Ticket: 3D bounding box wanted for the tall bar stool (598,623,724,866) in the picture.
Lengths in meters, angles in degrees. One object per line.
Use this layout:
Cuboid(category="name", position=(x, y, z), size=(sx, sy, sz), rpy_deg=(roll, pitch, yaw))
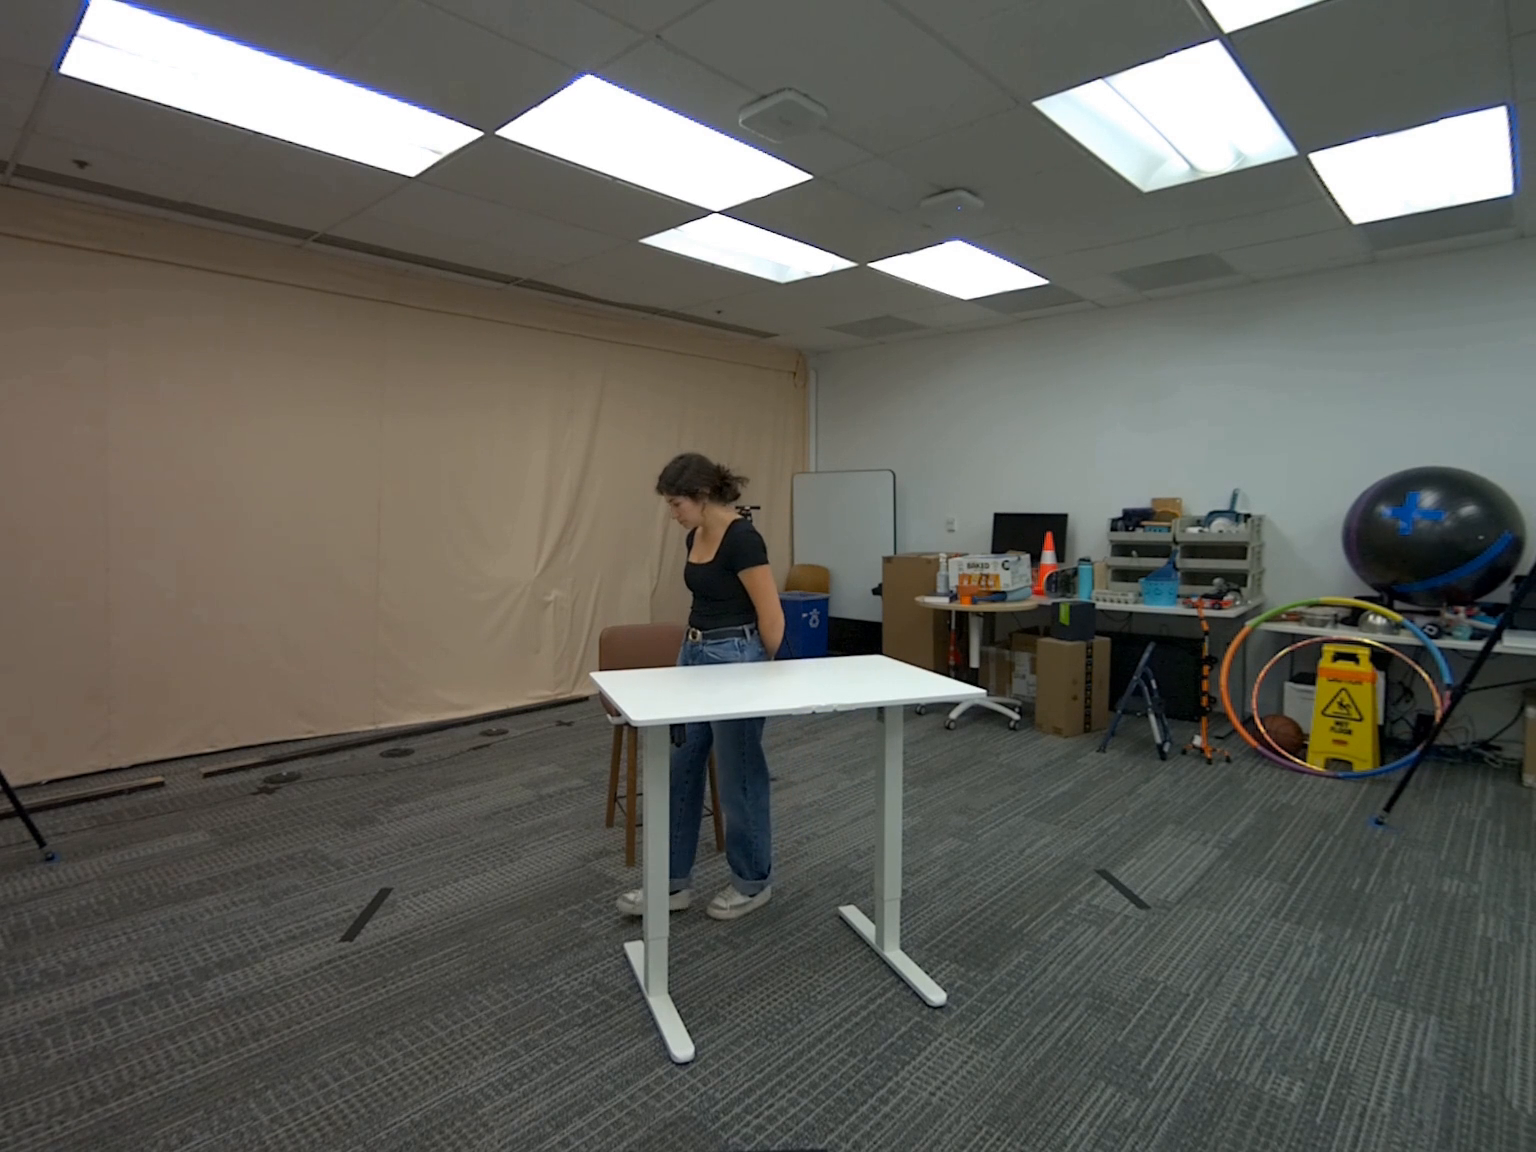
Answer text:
Cuboid(category="tall bar stool", position=(-0.454, 0.669, 3.512), size=(0.447, 0.889, 0.478), rpy_deg=(-2, 2, -22))
